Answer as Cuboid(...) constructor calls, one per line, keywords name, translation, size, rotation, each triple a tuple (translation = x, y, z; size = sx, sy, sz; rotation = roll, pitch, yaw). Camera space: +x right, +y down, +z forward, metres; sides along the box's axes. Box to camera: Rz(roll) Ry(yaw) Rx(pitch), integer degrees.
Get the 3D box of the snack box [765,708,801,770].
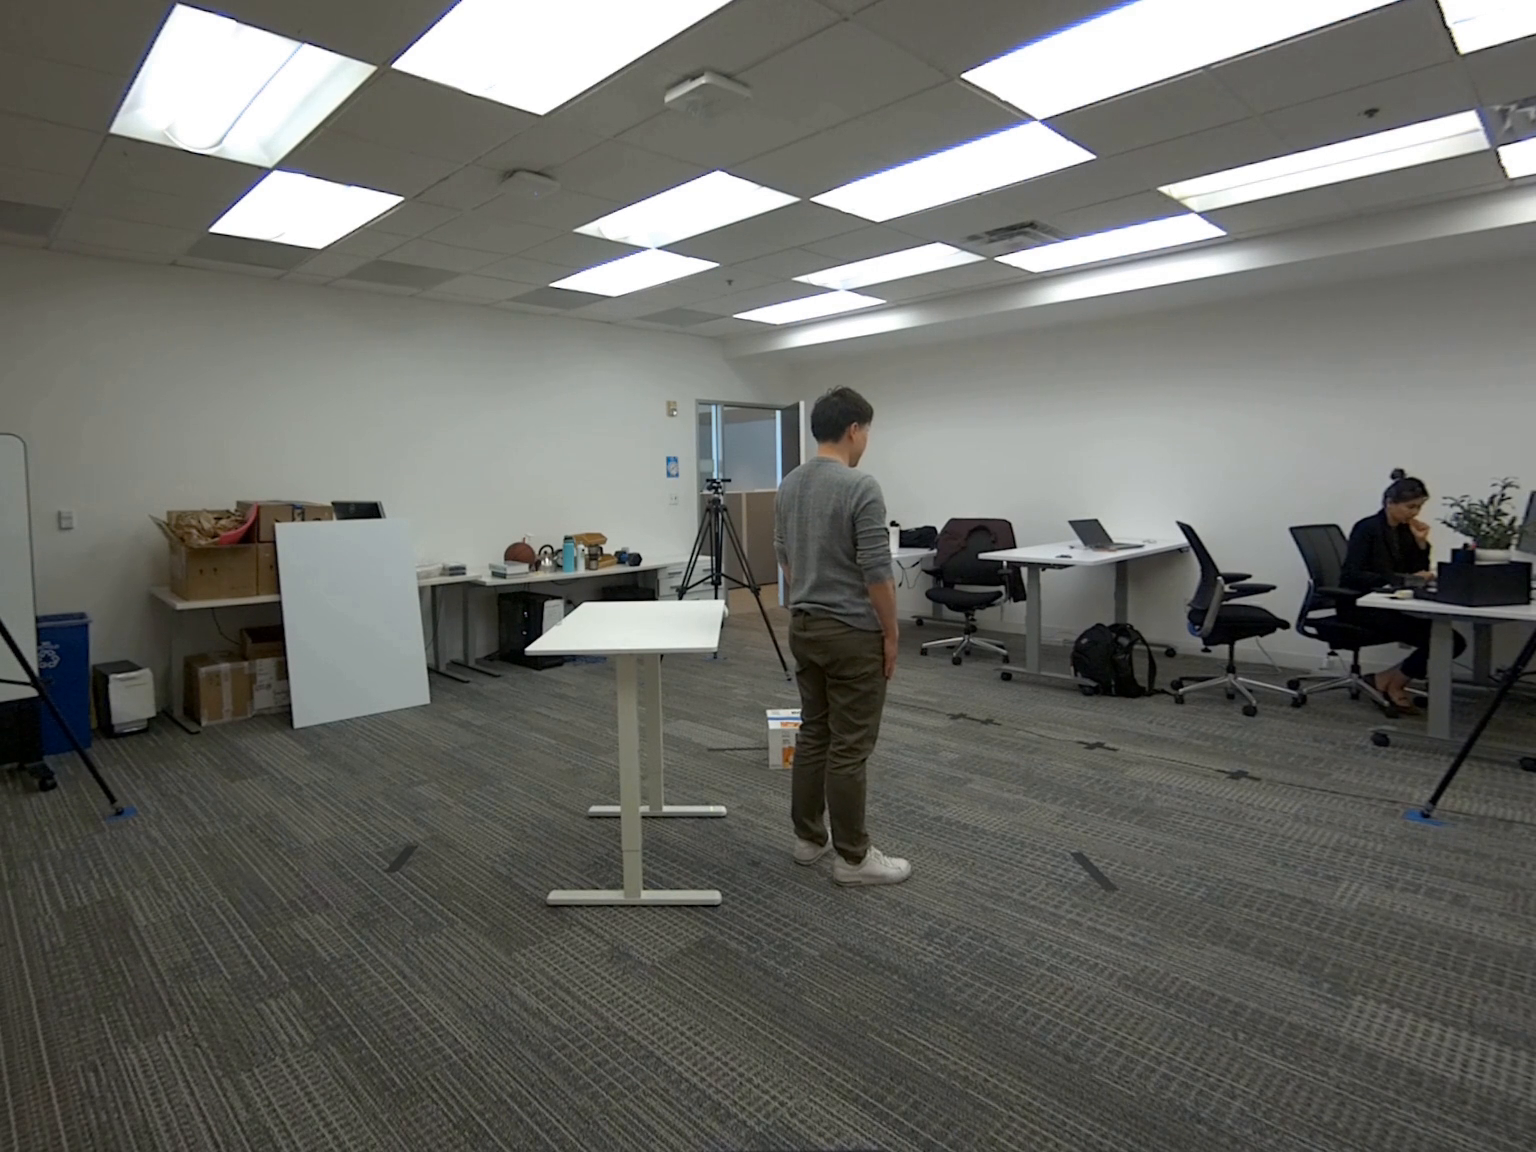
Cuboid(name="snack box", translation=(0.204, 0.810, 4.279), size=(0.405, 0.205, 0.342), rotation=(-2, 6, -1))
